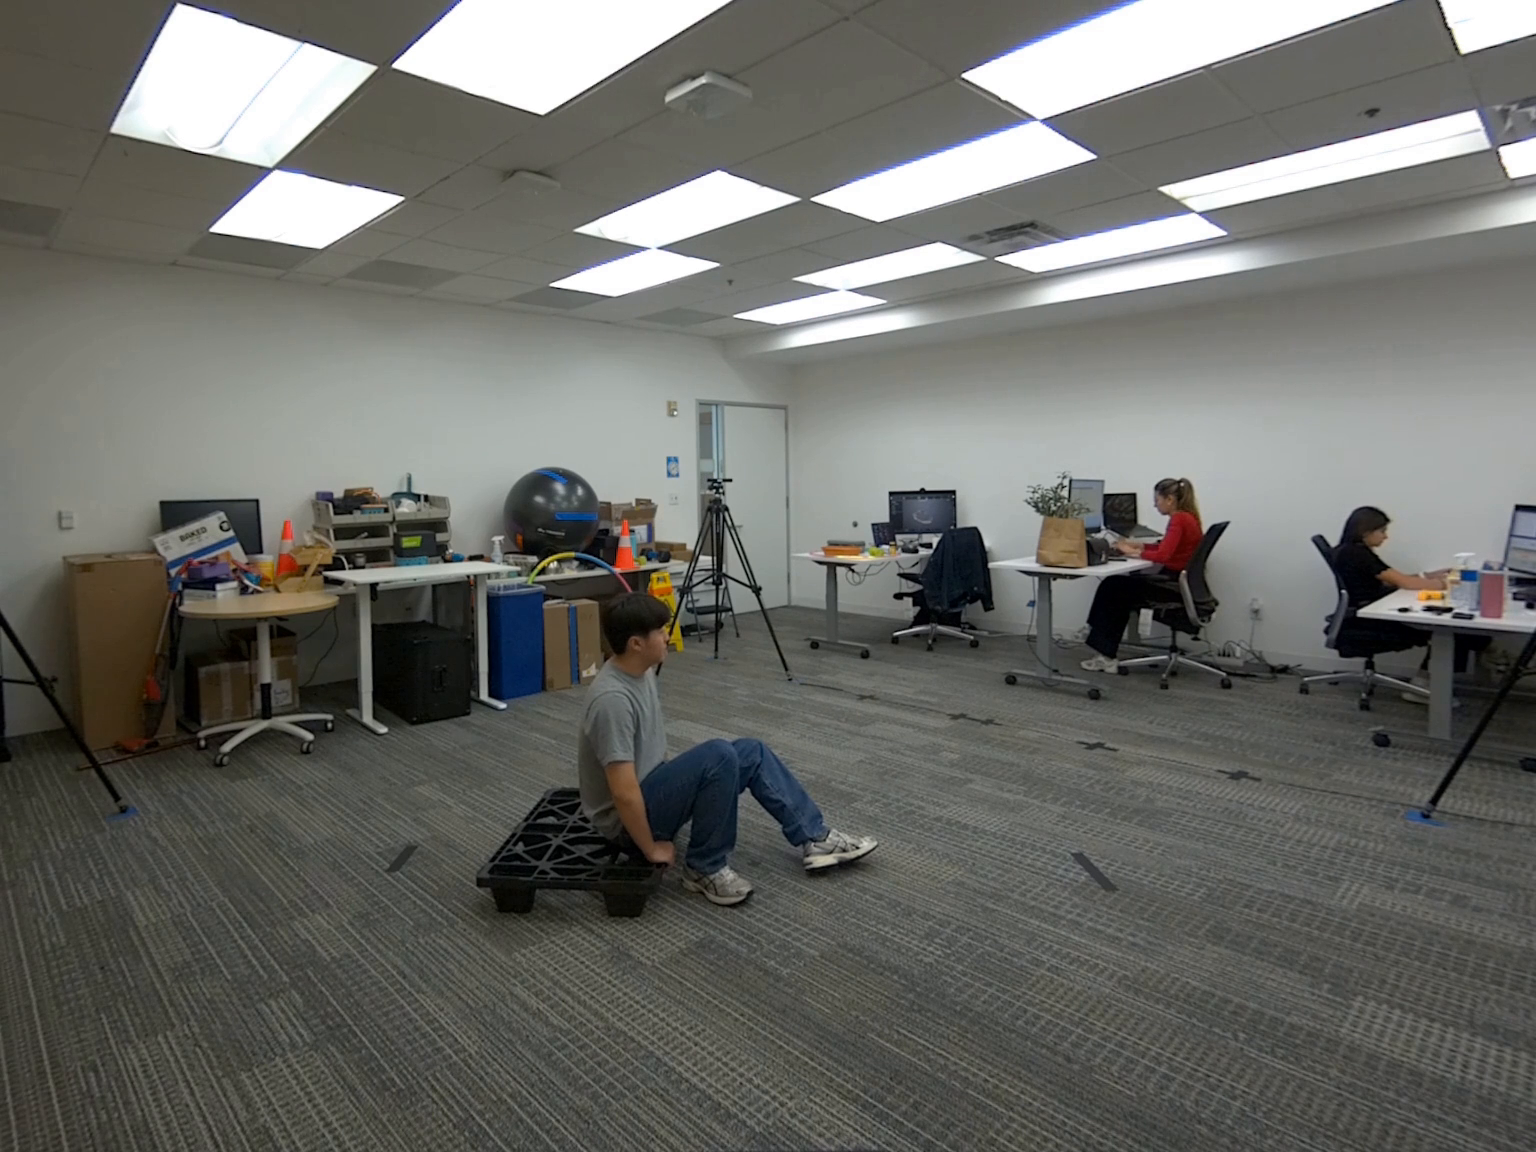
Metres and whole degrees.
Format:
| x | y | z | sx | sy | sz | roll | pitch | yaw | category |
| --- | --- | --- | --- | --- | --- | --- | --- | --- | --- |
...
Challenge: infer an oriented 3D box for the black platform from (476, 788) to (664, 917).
| x | y | z | sx | sy | sz | roll | pitch | yaw | category |
| --- | --- | --- | --- | --- | --- | --- | --- | --- | --- |
| -0.621 | 0.984 | 3.121 | 0.608 | 0.142 | 0.805 | 0 | 7 | 4 | black platform |
